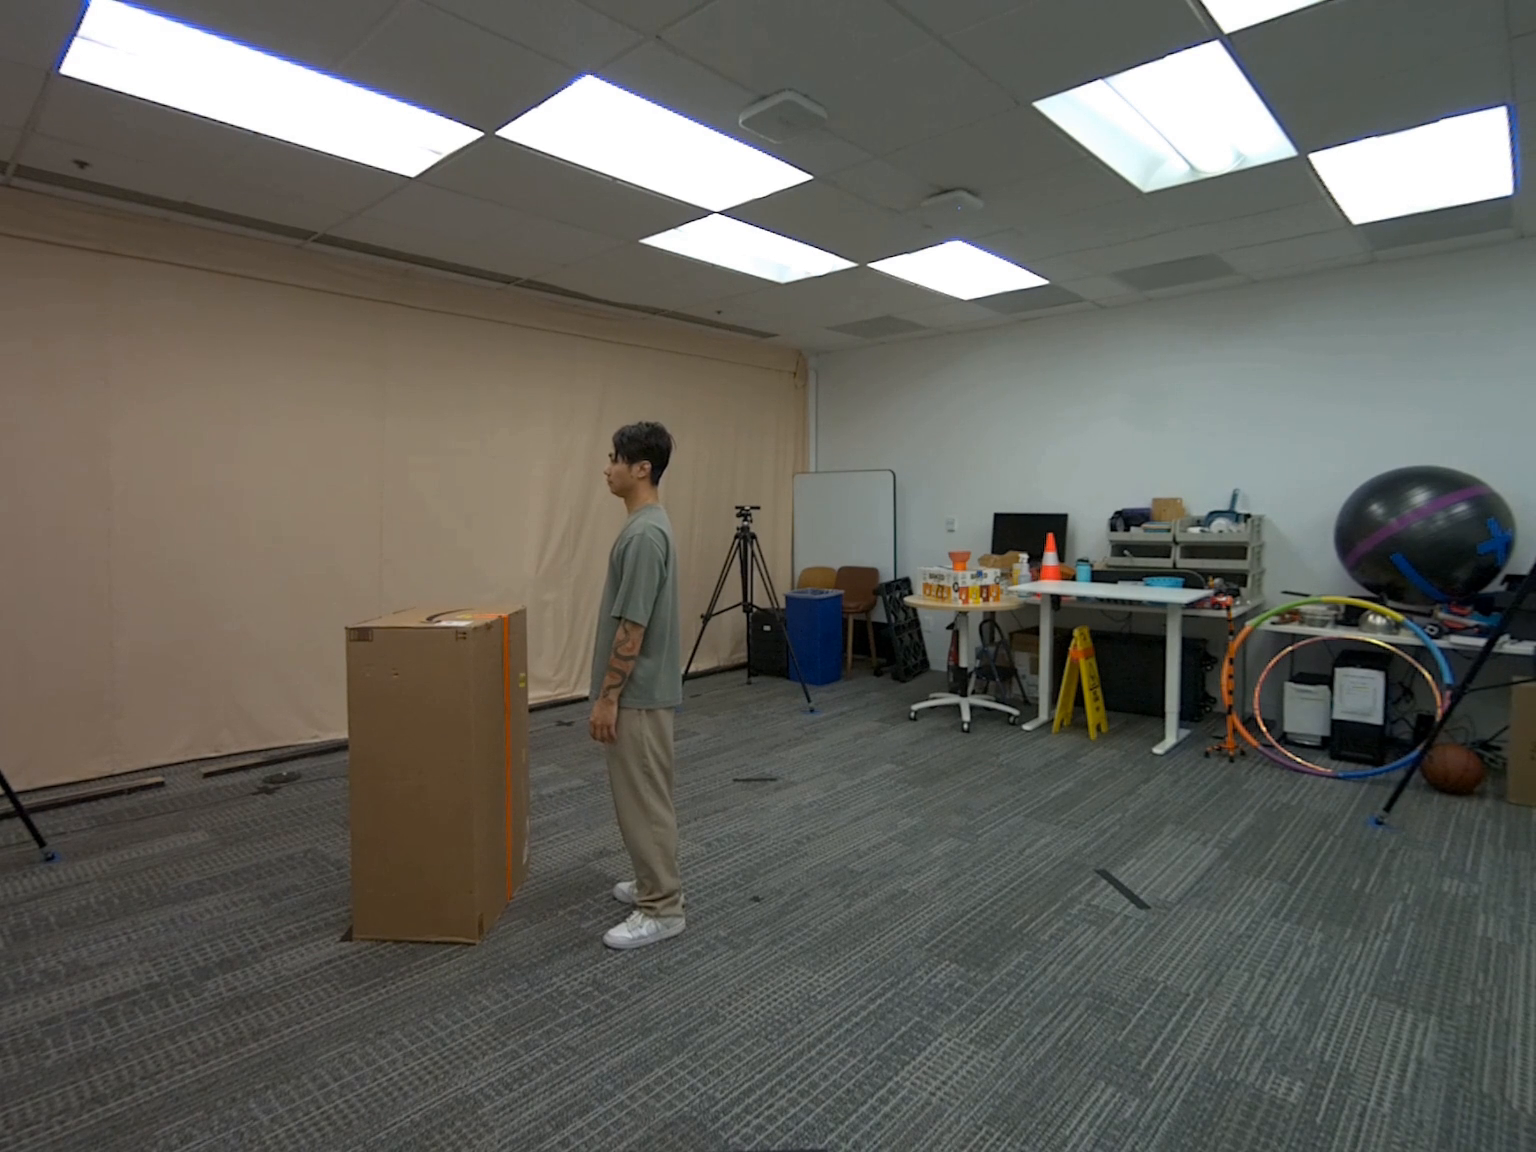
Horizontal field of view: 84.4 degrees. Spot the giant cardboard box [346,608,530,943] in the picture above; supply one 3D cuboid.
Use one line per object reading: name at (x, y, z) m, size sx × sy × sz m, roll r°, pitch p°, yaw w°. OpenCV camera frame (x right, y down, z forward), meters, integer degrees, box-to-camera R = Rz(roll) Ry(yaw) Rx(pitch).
giant cardboard box at (-1.136, 0.653, 2.960) m, size 0.428 × 1.024 × 0.576 m, roll -1°, pitch 2°, yaw 2°
